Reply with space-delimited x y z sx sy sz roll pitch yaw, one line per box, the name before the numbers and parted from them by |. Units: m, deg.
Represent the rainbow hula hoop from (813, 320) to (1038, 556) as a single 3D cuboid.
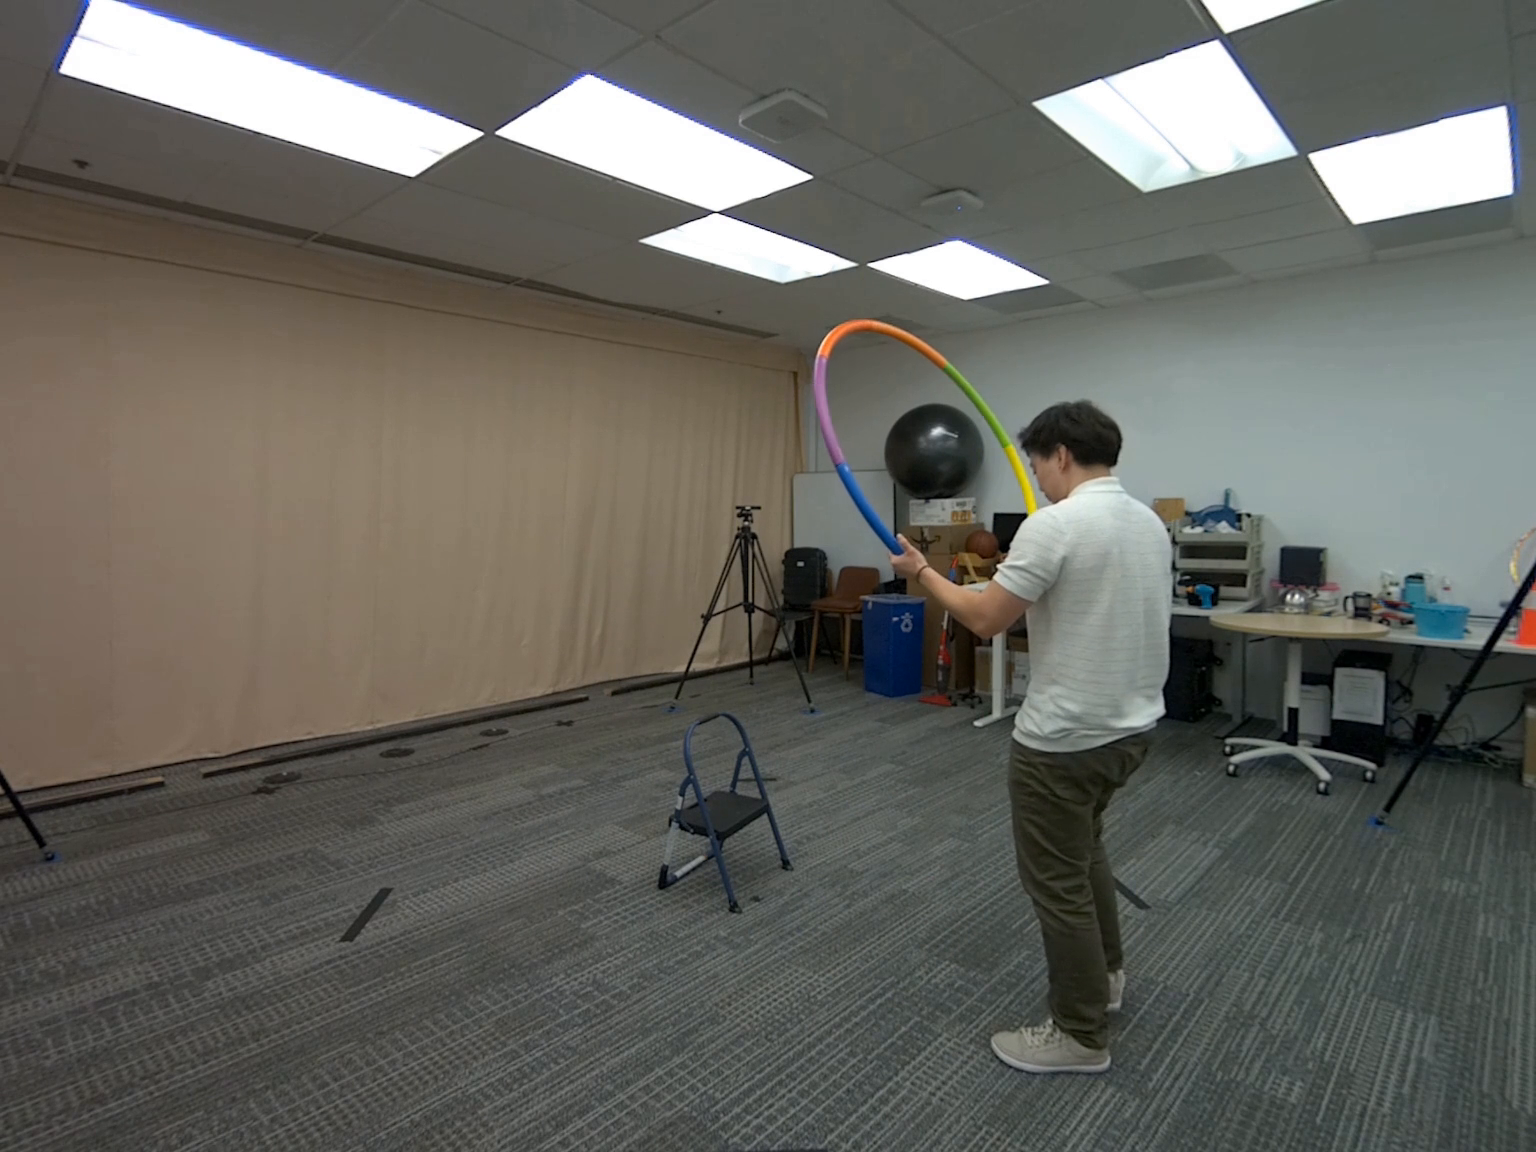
rainbow hula hoop | 0.535 -0.365 2.585 0.949 0.994 0.036 -4 -23 -43
